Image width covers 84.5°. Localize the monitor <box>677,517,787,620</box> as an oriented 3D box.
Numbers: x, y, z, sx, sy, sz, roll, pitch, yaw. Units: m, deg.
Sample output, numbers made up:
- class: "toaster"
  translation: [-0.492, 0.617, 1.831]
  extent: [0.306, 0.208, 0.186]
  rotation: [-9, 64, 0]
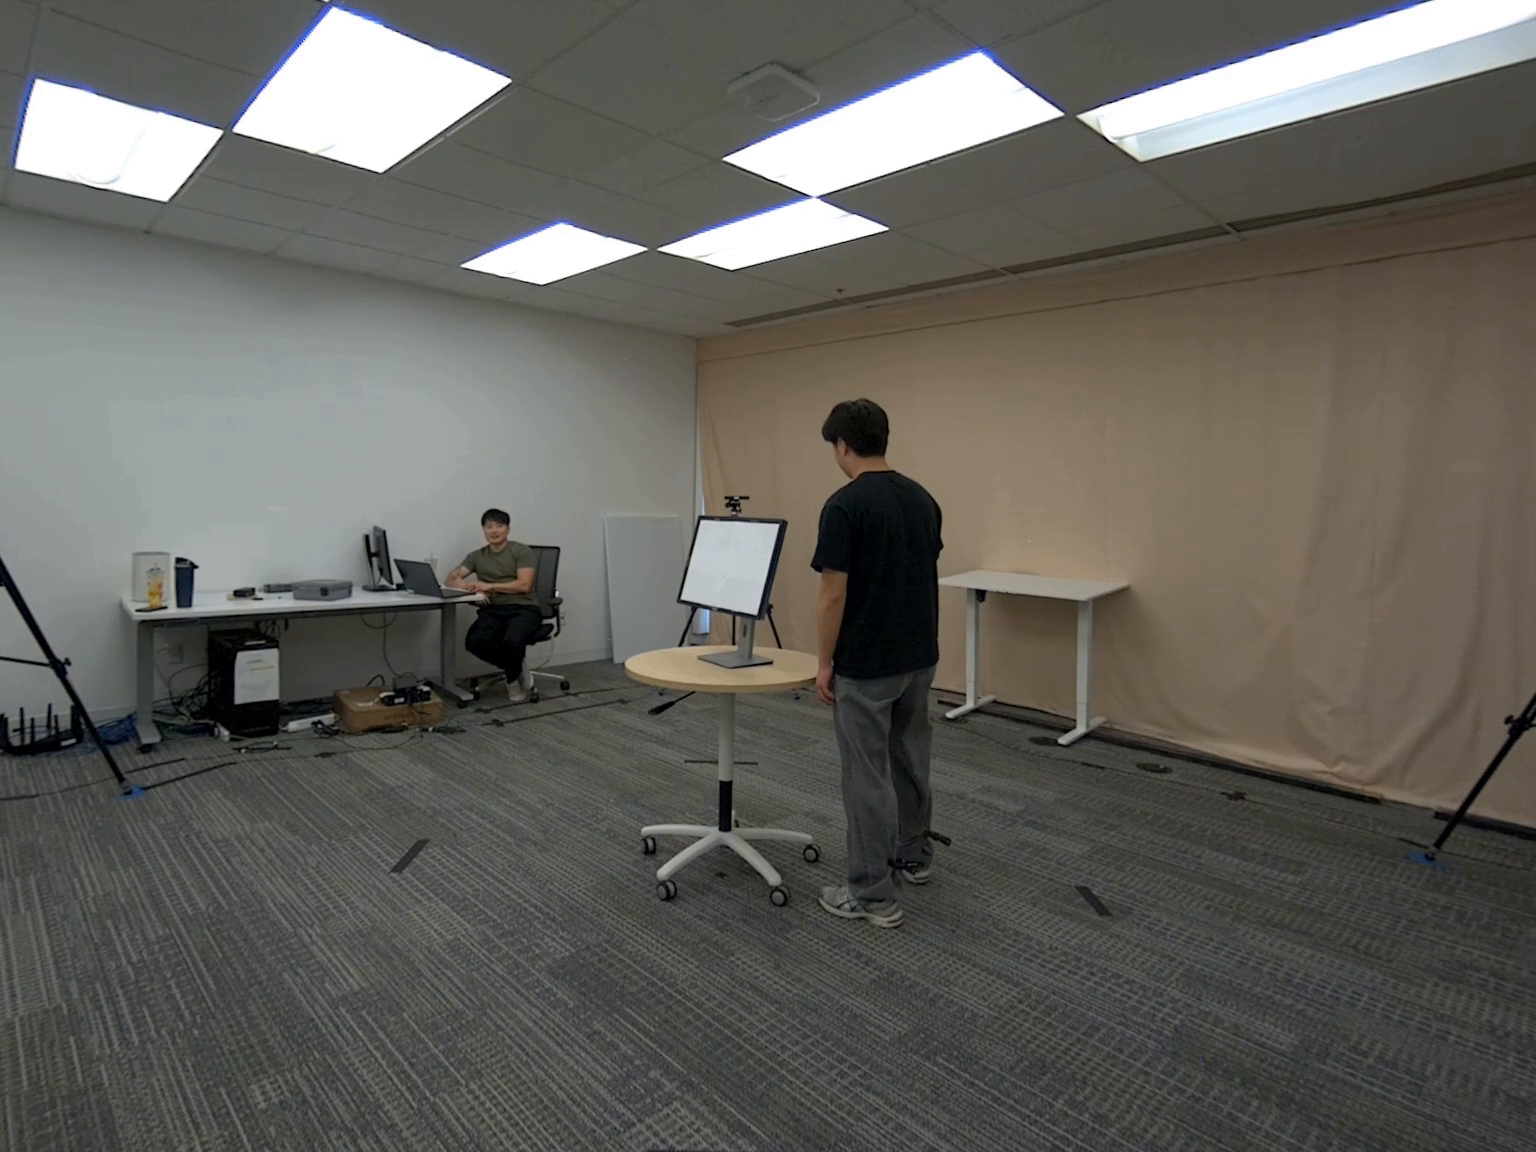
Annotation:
- class: "monitor"
  translation: [-0.125, 0.062, 3.166]
  extent: [0.217, 0.564, 0.575]
  rotation: [-2, 4, -33]
